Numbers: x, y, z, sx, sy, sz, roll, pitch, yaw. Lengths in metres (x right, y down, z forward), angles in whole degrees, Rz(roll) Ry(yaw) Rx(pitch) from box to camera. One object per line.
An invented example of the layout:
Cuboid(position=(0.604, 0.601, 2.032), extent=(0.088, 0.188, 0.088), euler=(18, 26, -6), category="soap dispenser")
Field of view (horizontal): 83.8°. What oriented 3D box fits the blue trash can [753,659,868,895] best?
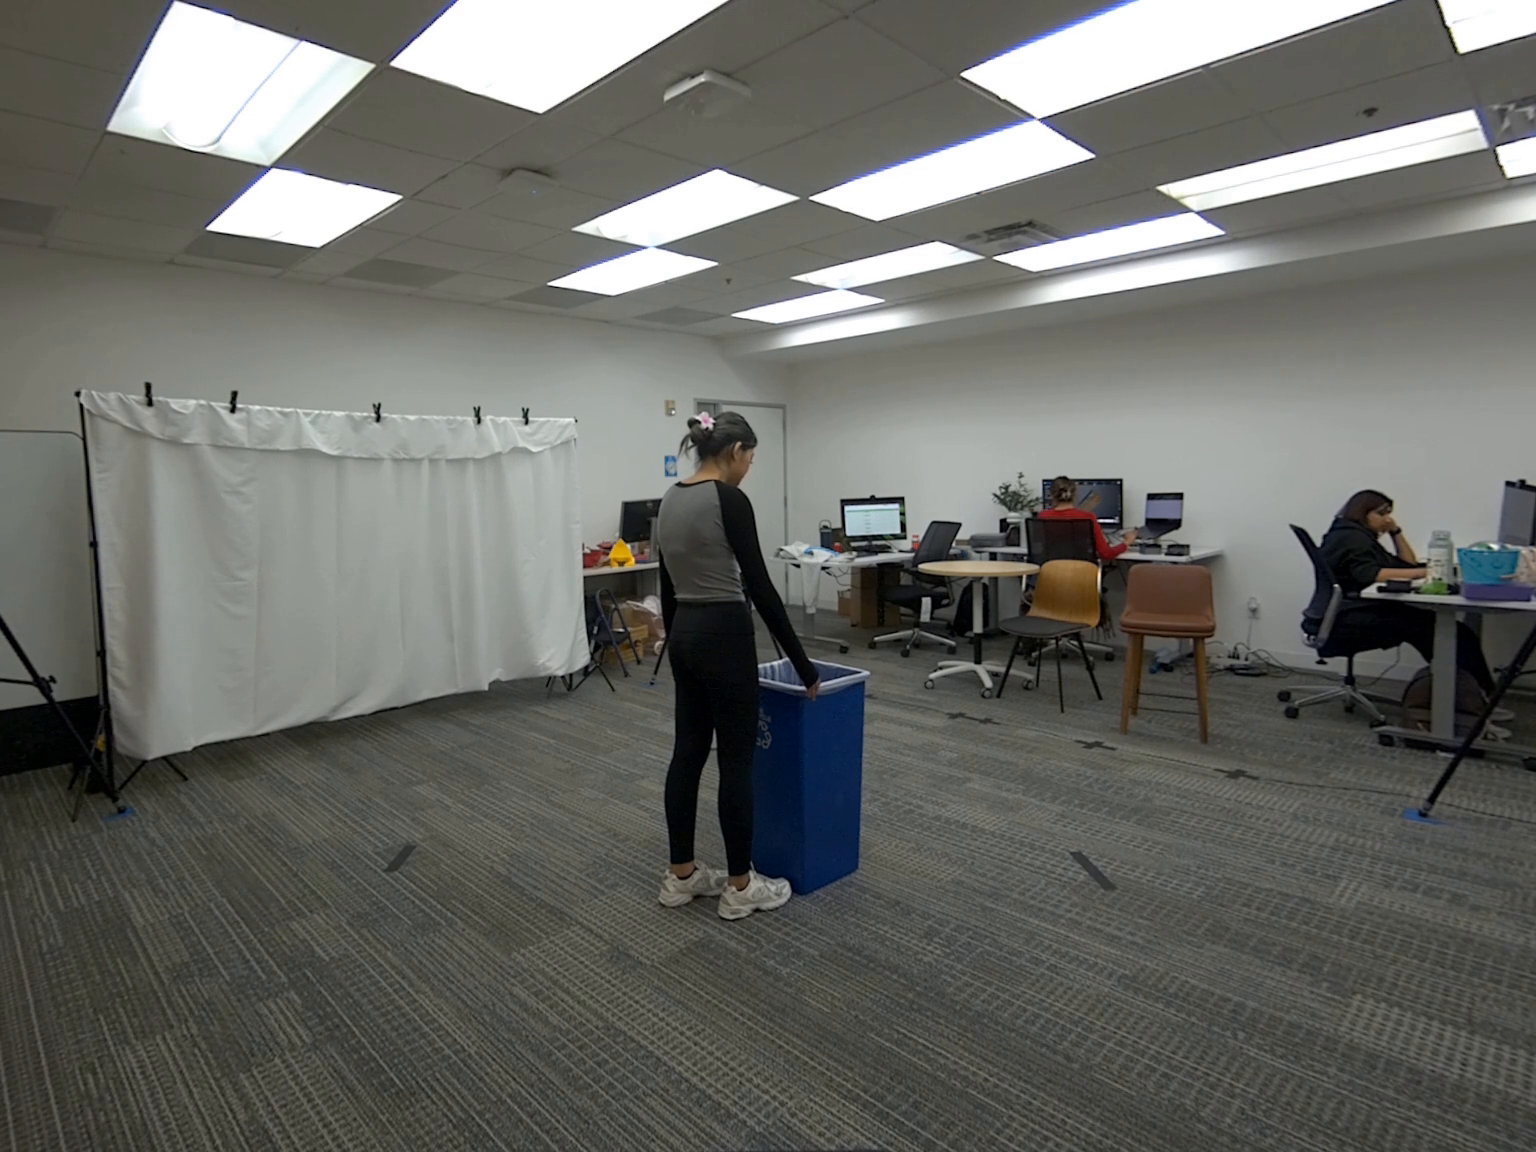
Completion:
Cuboid(position=(0.123, 0.687, 3.032), extent=(0.368, 0.711, 0.385), euler=(-5, 6, -43), category="blue trash can")
